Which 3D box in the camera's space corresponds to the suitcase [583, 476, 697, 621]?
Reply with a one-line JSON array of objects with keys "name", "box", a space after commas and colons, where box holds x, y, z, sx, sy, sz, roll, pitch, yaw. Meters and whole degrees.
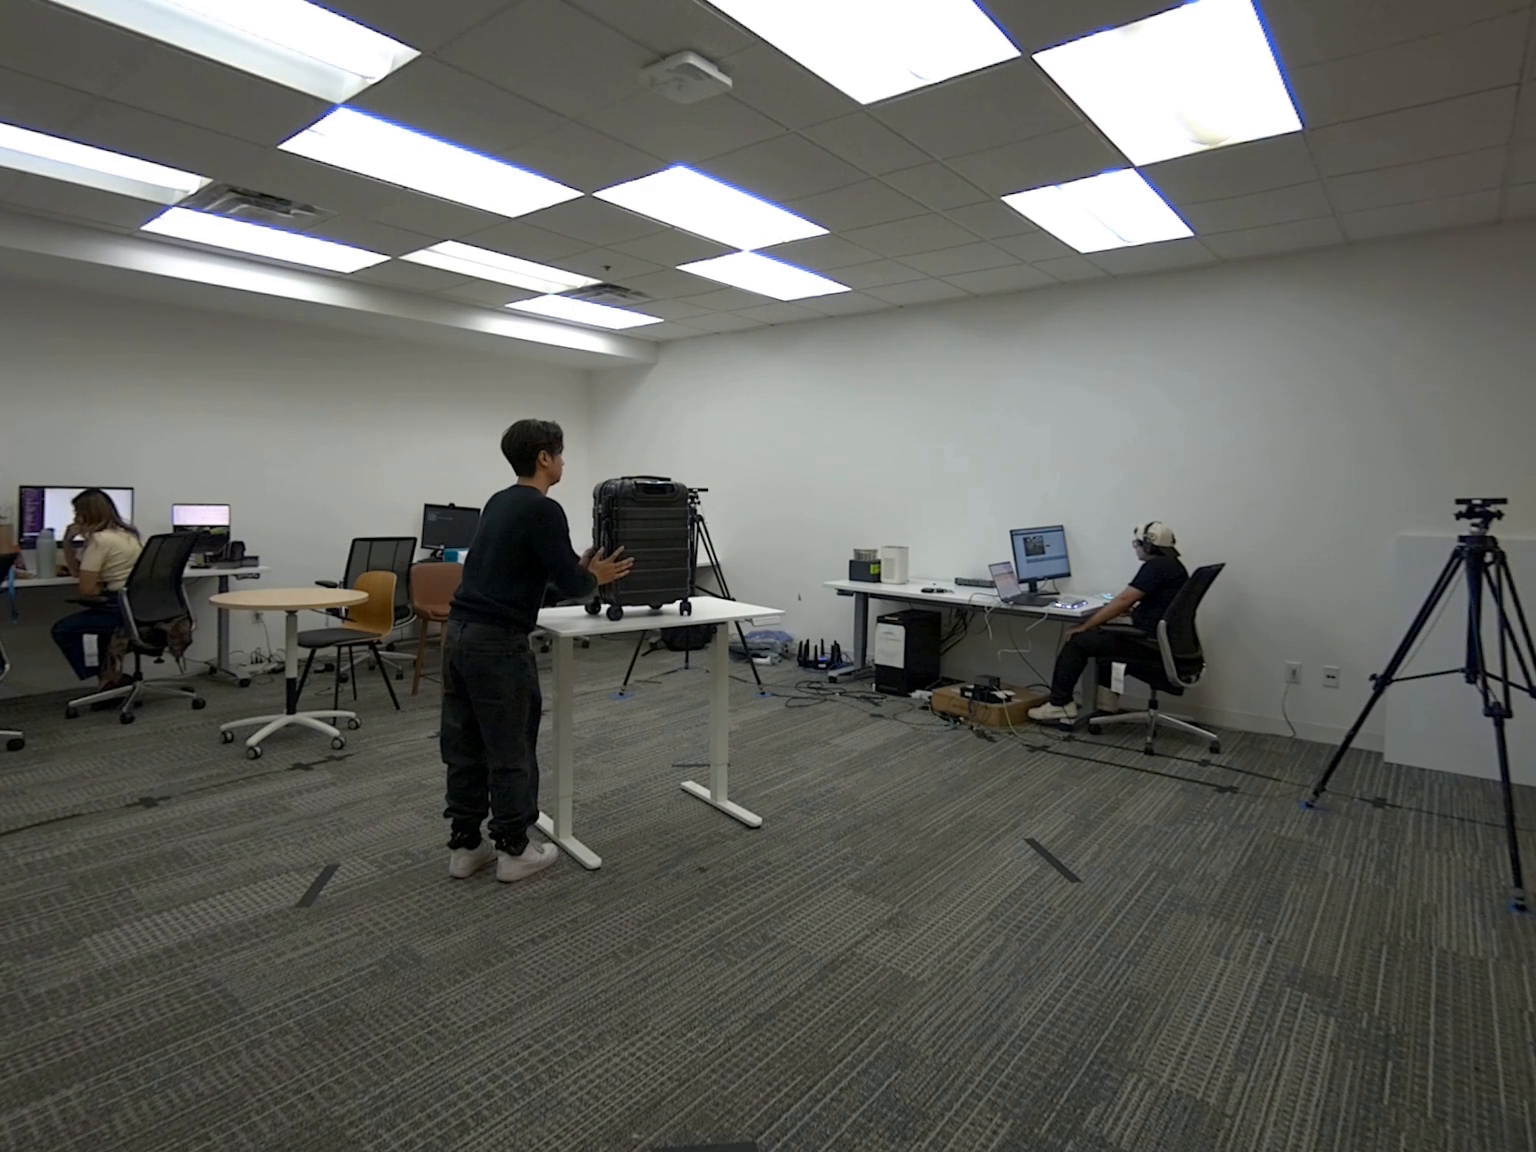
[{"name": "suitcase", "box": [-0.521, -0.126, 3.407, 0.365, 0.548, 0.256, -2, 3, -36]}]
